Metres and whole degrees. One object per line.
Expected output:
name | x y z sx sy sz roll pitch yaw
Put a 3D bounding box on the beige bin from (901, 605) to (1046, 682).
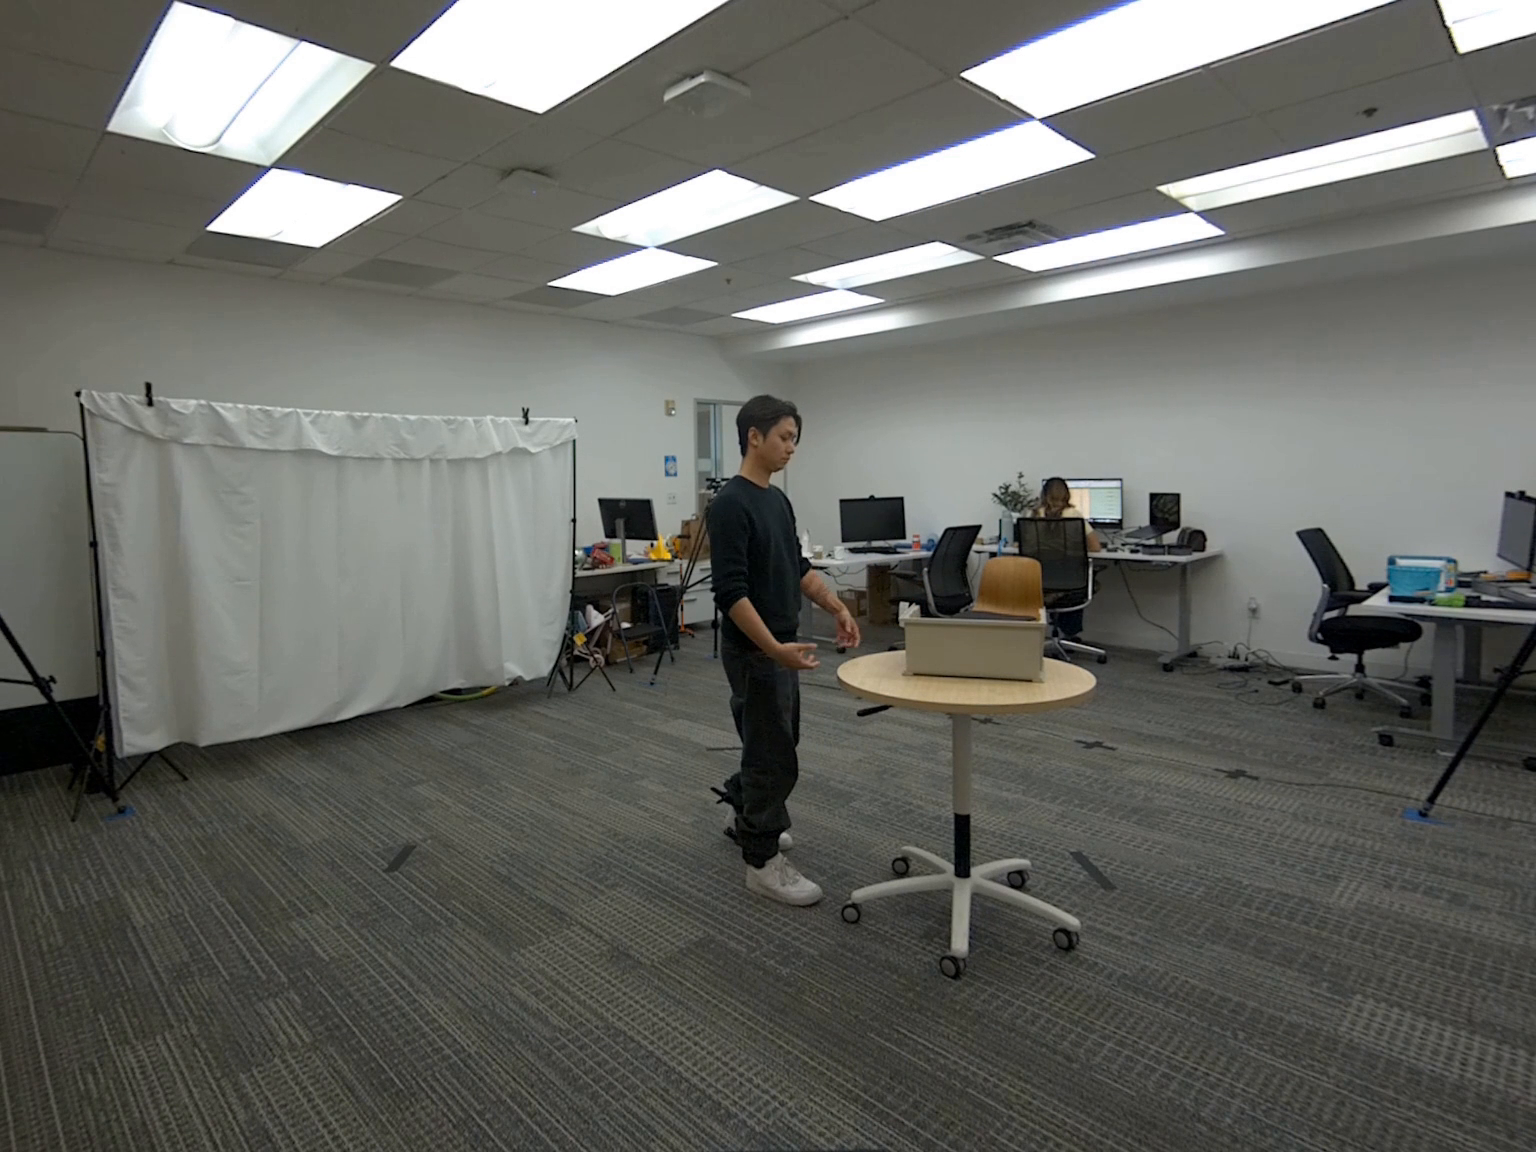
beige bin | 0.655 0.199 2.710 0.430 0.188 0.373 1 8 18
